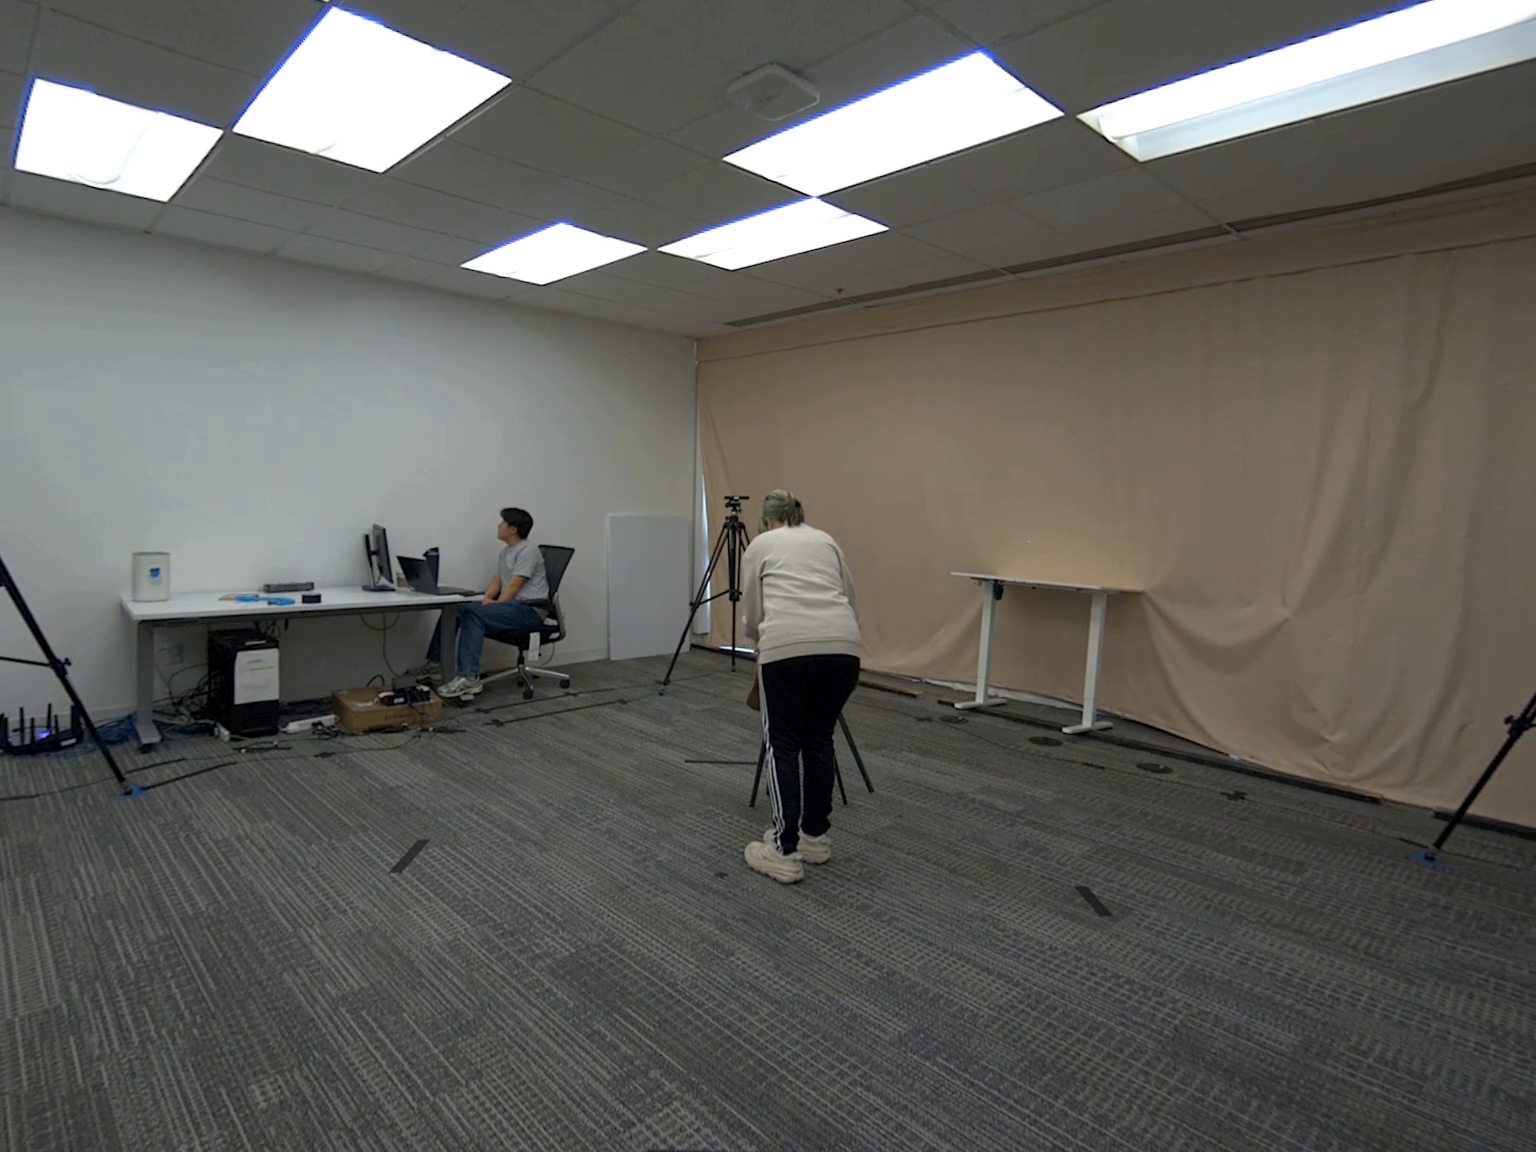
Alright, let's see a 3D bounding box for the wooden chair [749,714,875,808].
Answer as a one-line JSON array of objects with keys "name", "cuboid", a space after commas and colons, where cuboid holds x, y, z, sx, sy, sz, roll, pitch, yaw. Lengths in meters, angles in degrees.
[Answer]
[{"name": "wooden chair", "cuboid": [0.142, 0.574, 3.786, 0.475, 0.889, 0.519, 0, -18, -8]}]
